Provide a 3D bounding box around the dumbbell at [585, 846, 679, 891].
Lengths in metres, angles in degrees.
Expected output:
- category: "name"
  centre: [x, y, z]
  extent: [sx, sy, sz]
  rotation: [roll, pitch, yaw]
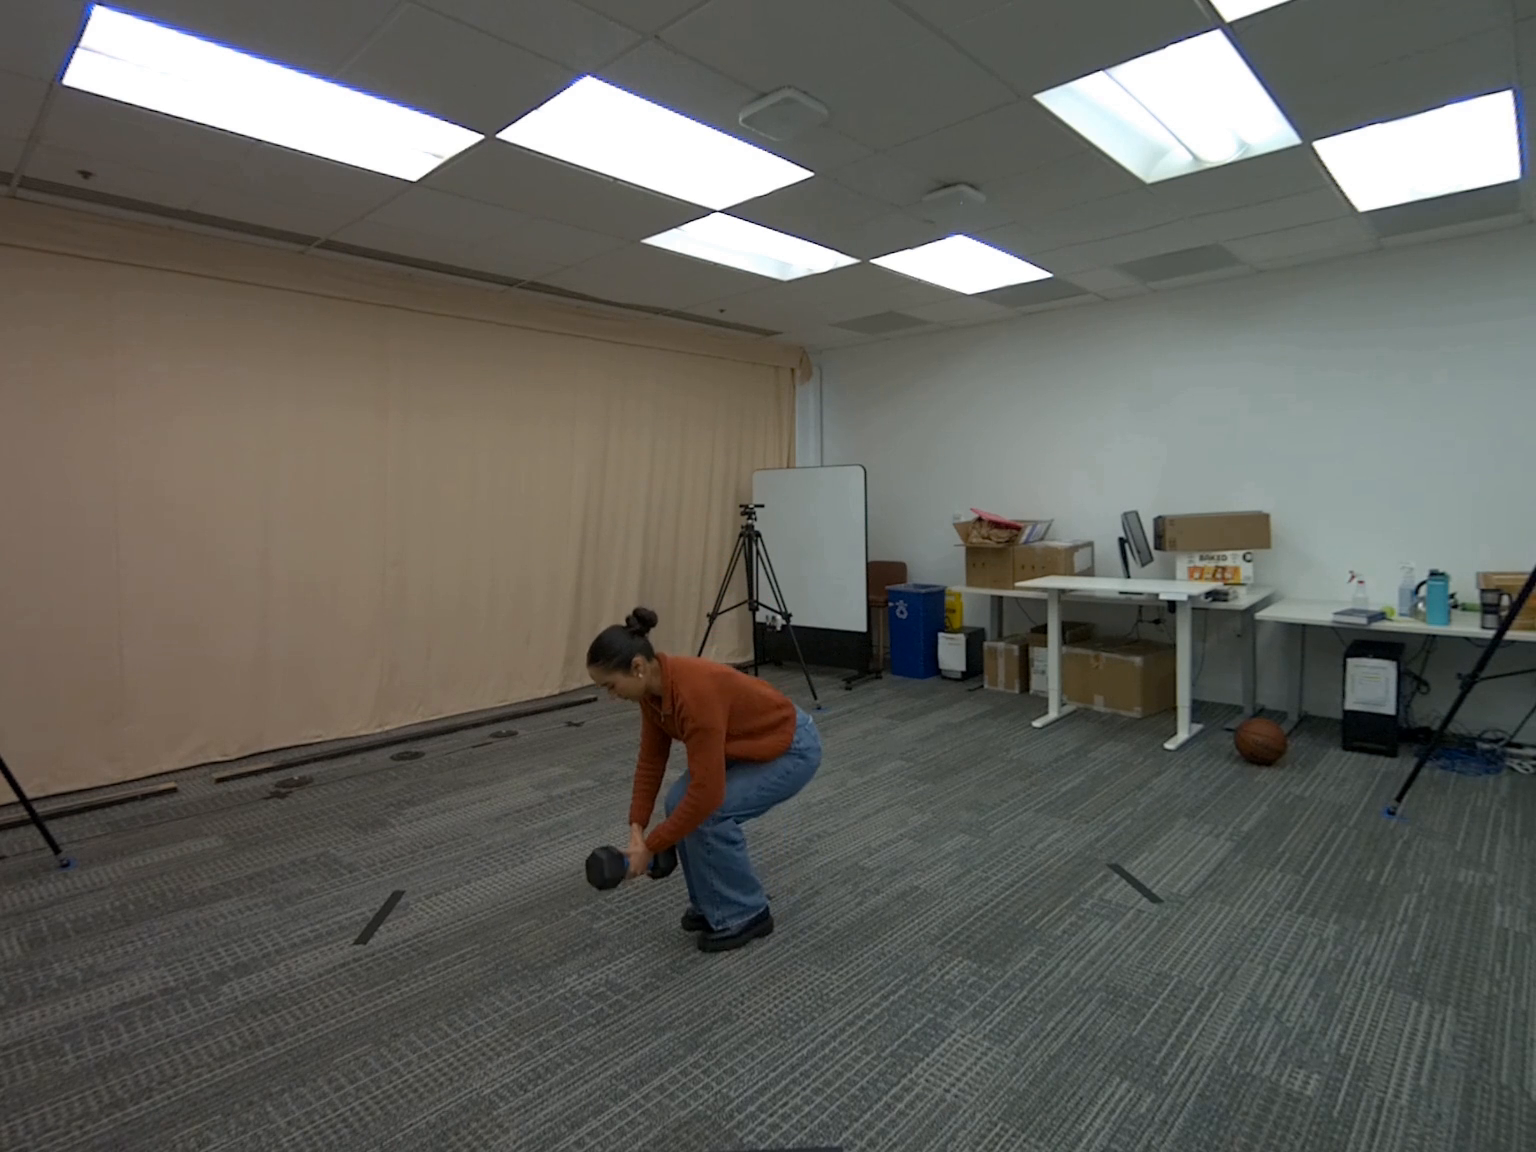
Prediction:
- category: "dumbbell"
  centre: [-0.409, 0.867, 2.573]
  extent: [0.283, 0.123, 0.112]
  rotation: [11, 32, -46]
